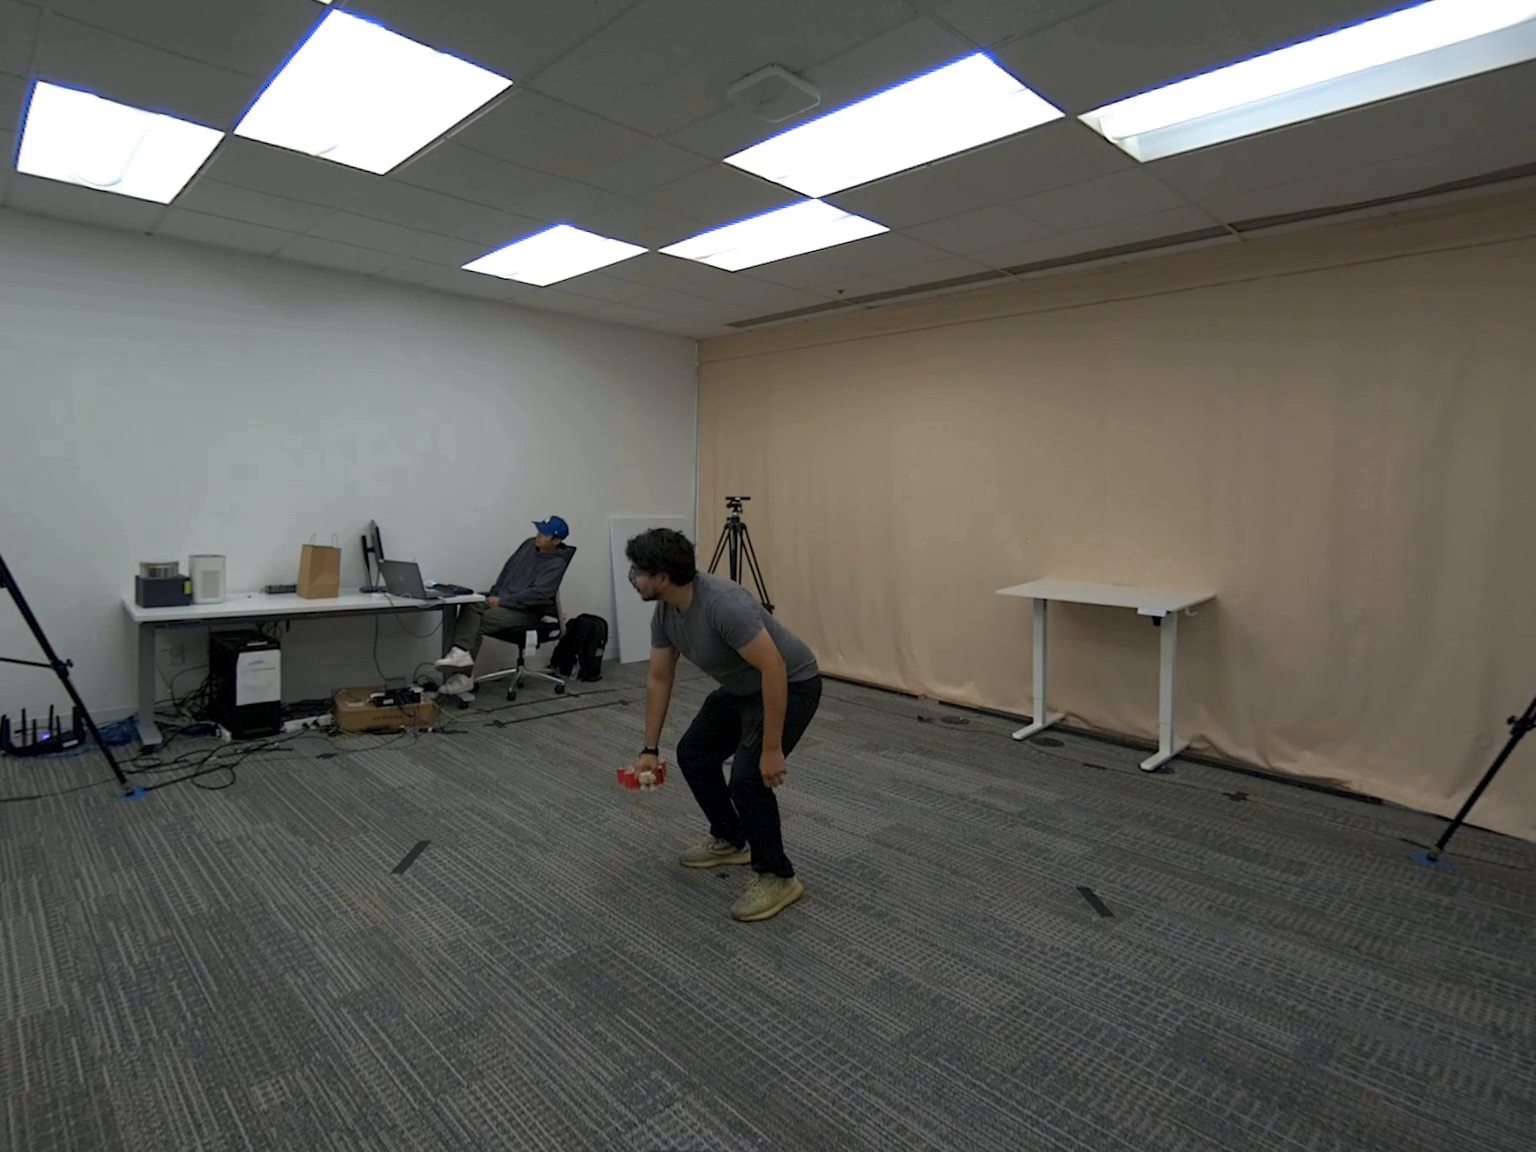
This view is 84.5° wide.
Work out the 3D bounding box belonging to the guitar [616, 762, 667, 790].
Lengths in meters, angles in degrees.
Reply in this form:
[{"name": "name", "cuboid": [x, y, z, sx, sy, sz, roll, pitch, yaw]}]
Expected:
[{"name": "guitar", "cuboid": [-0.488, 0.754, 3.114, 0.193, 0.071, 0.497, -7, -3, -3]}]
